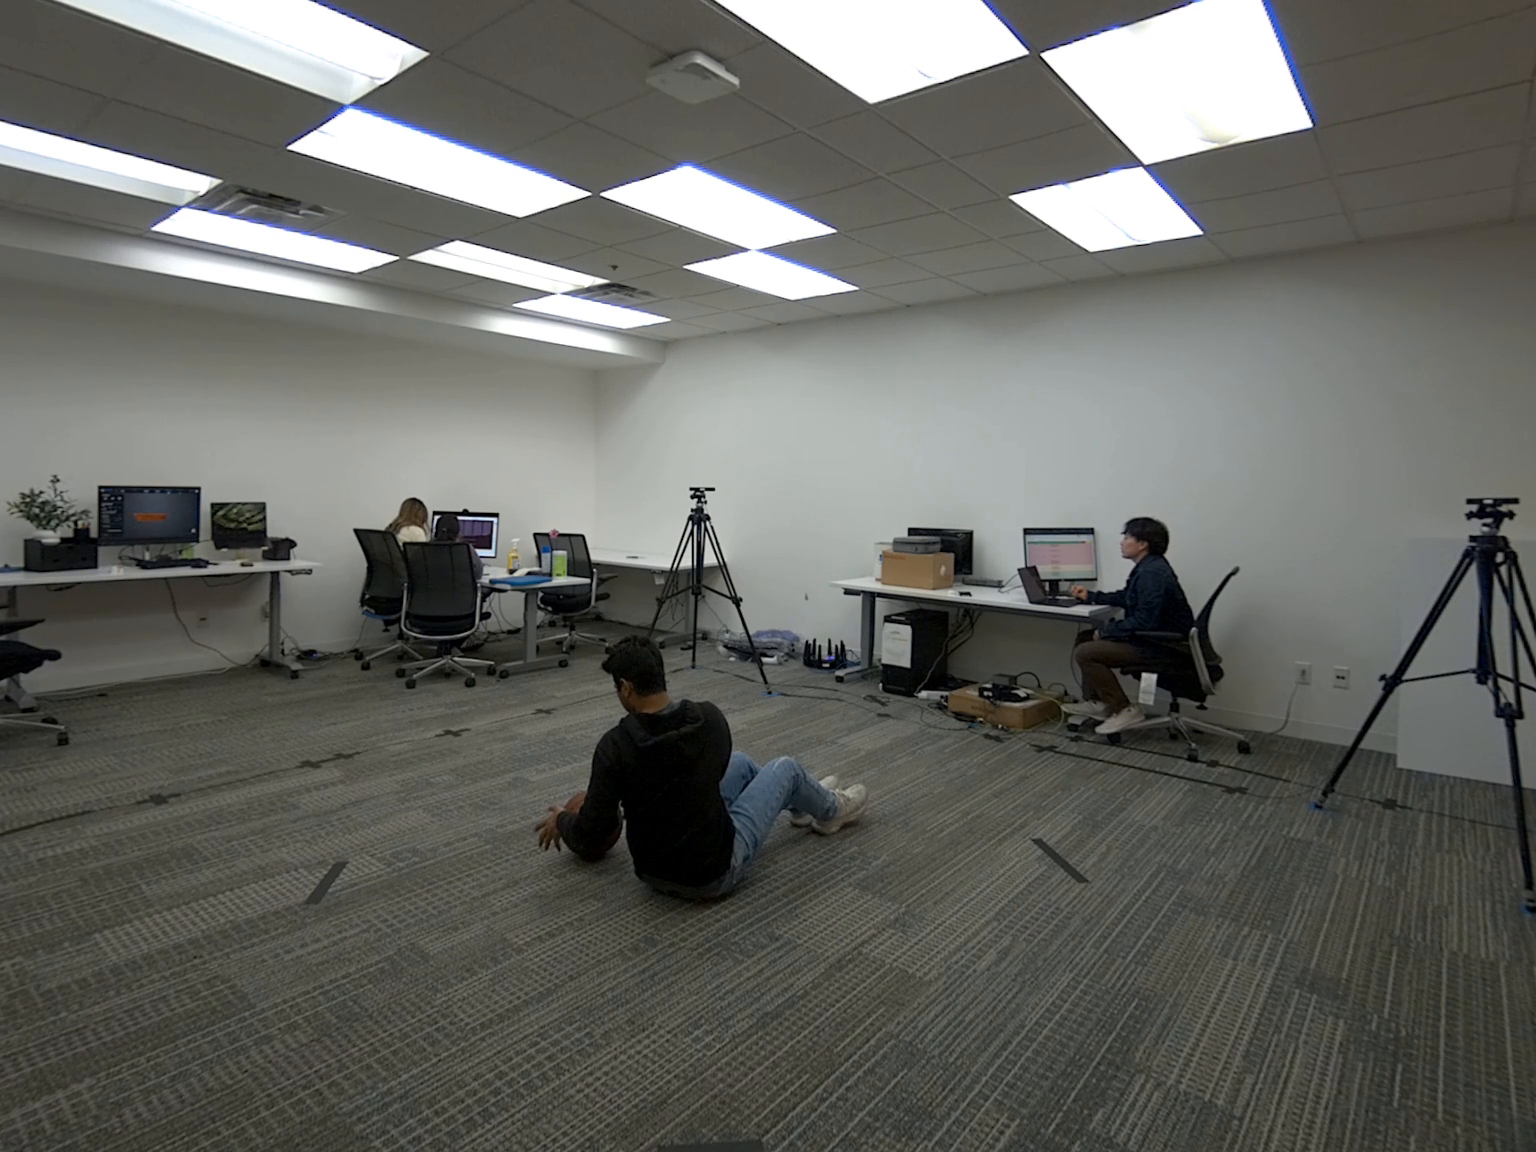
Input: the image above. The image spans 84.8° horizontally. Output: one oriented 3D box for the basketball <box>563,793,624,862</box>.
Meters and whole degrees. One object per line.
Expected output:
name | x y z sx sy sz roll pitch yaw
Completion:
basketball | -0.670 0.927 3.202 0.235 0.235 0.237 1 4 -2
